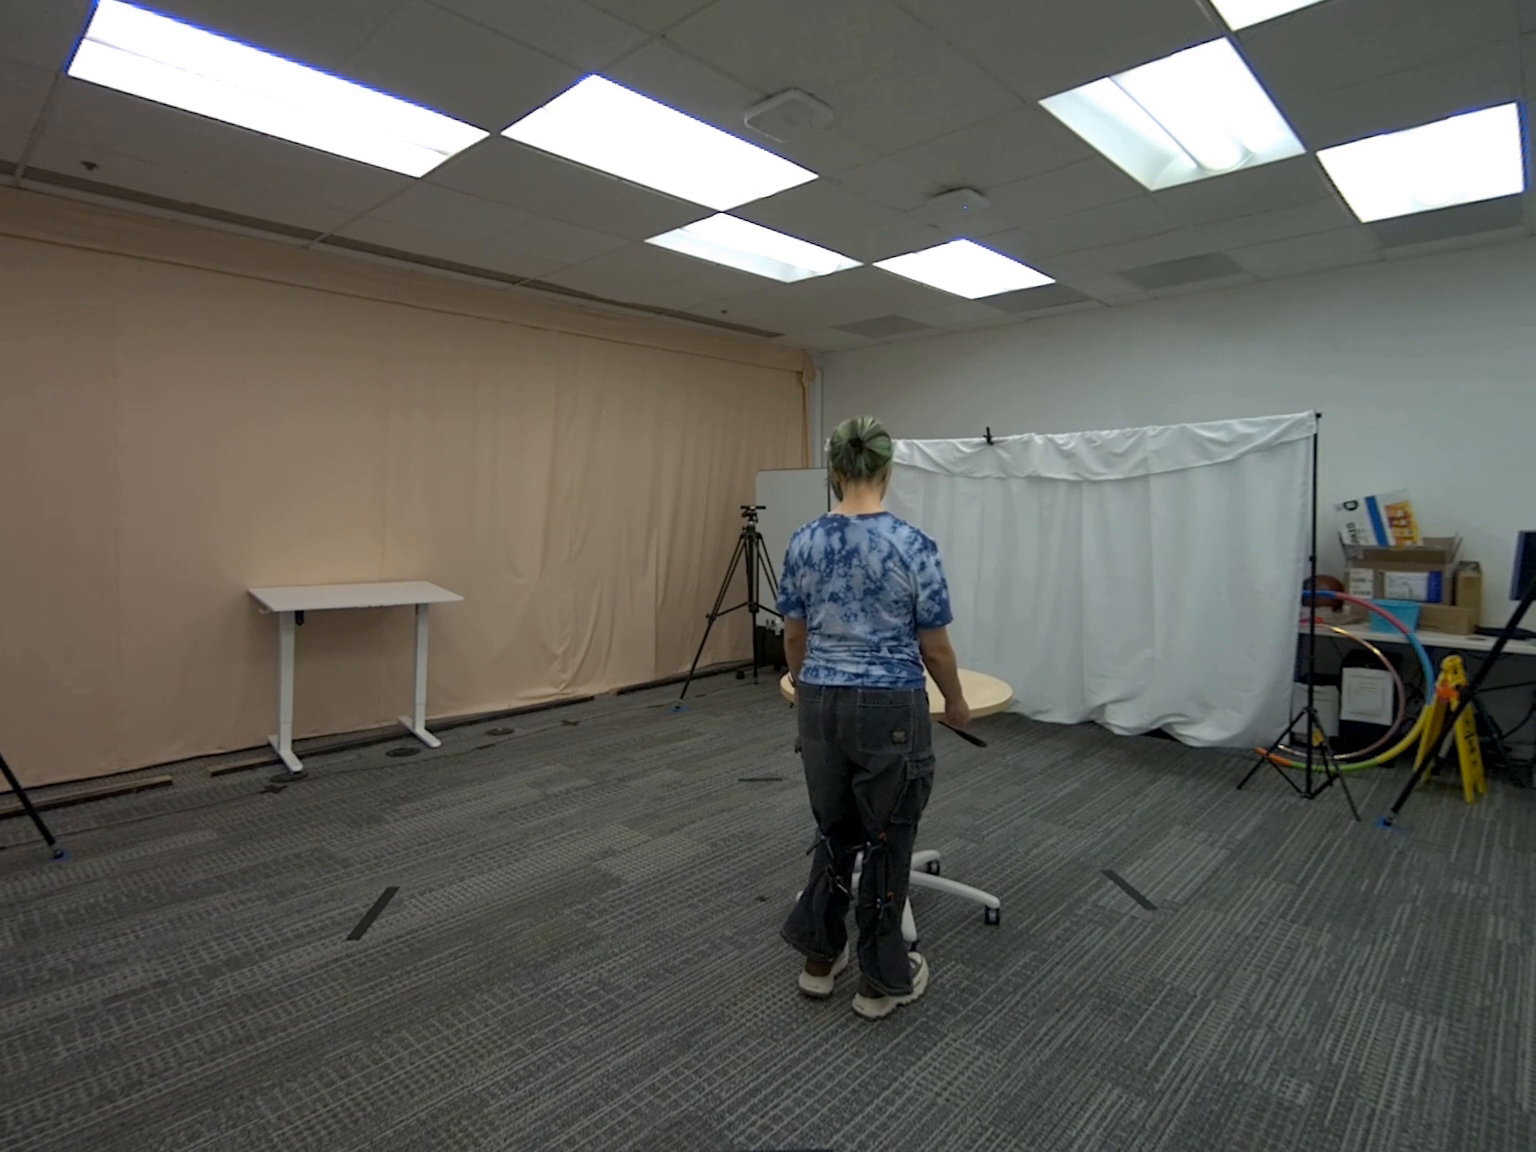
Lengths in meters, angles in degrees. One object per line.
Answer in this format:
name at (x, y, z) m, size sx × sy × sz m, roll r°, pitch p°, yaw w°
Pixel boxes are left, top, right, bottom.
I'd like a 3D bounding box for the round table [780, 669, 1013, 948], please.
round table at (0.431, 0.758, 2.895) m, size 0.763 × 0.792 × 0.767 m, roll 0°, pitch 4°, yaw -2°
